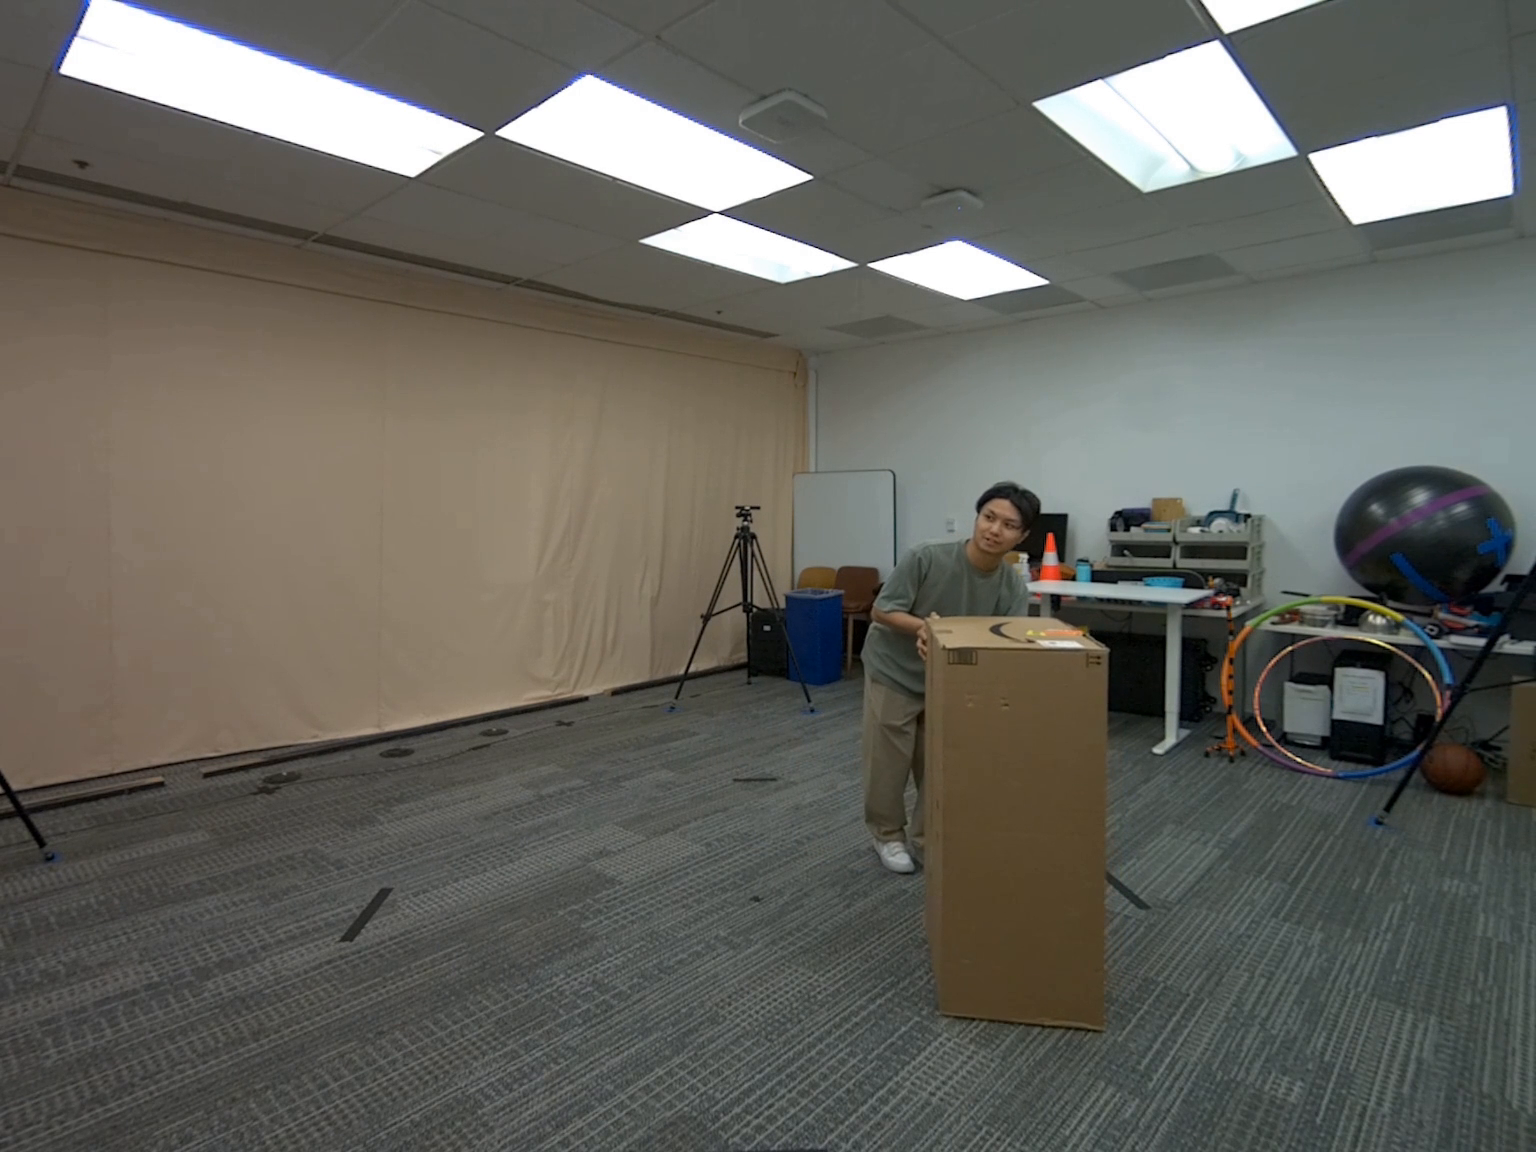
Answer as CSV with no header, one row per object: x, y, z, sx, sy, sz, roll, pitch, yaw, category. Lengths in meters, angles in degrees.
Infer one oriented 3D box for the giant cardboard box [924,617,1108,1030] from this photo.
0.711,0.673,2.513,0.430,1.024,0.574,0,3,7,giant cardboard box
